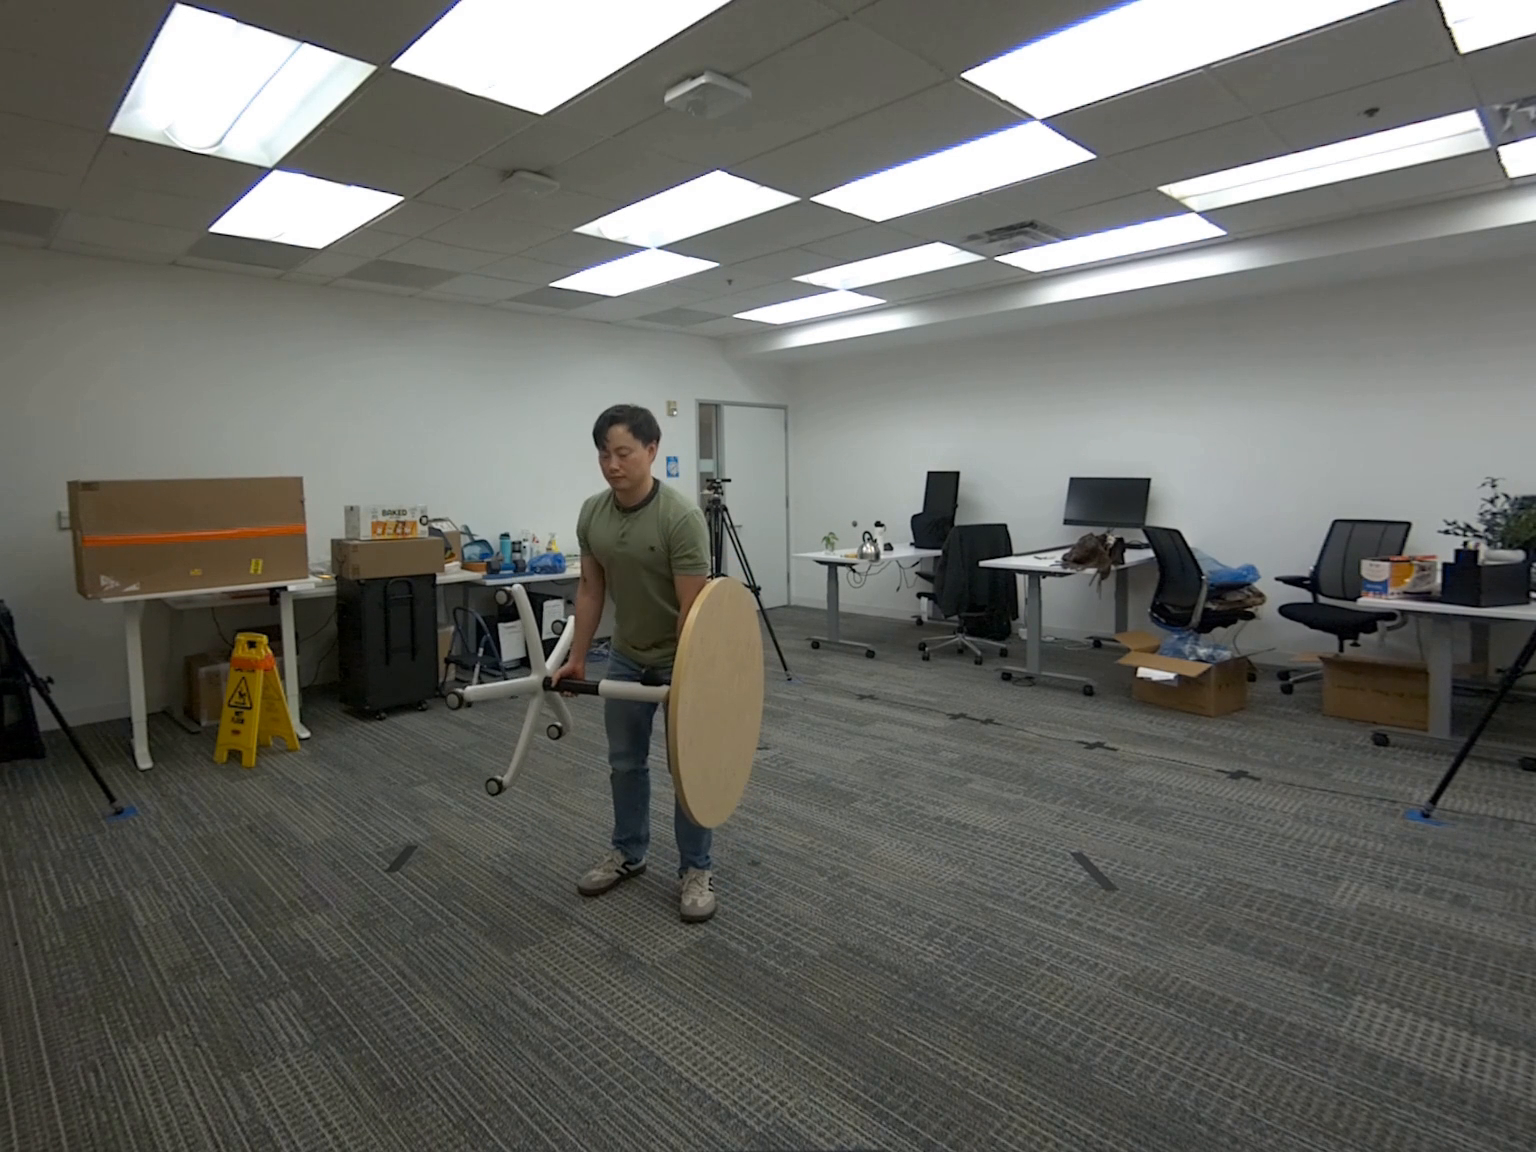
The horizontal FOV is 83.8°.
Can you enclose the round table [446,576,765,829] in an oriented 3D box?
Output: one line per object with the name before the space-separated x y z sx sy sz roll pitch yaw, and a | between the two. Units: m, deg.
round table | -0.509 0.386 2.812 0.809 0.761 0.752 1 5 20
